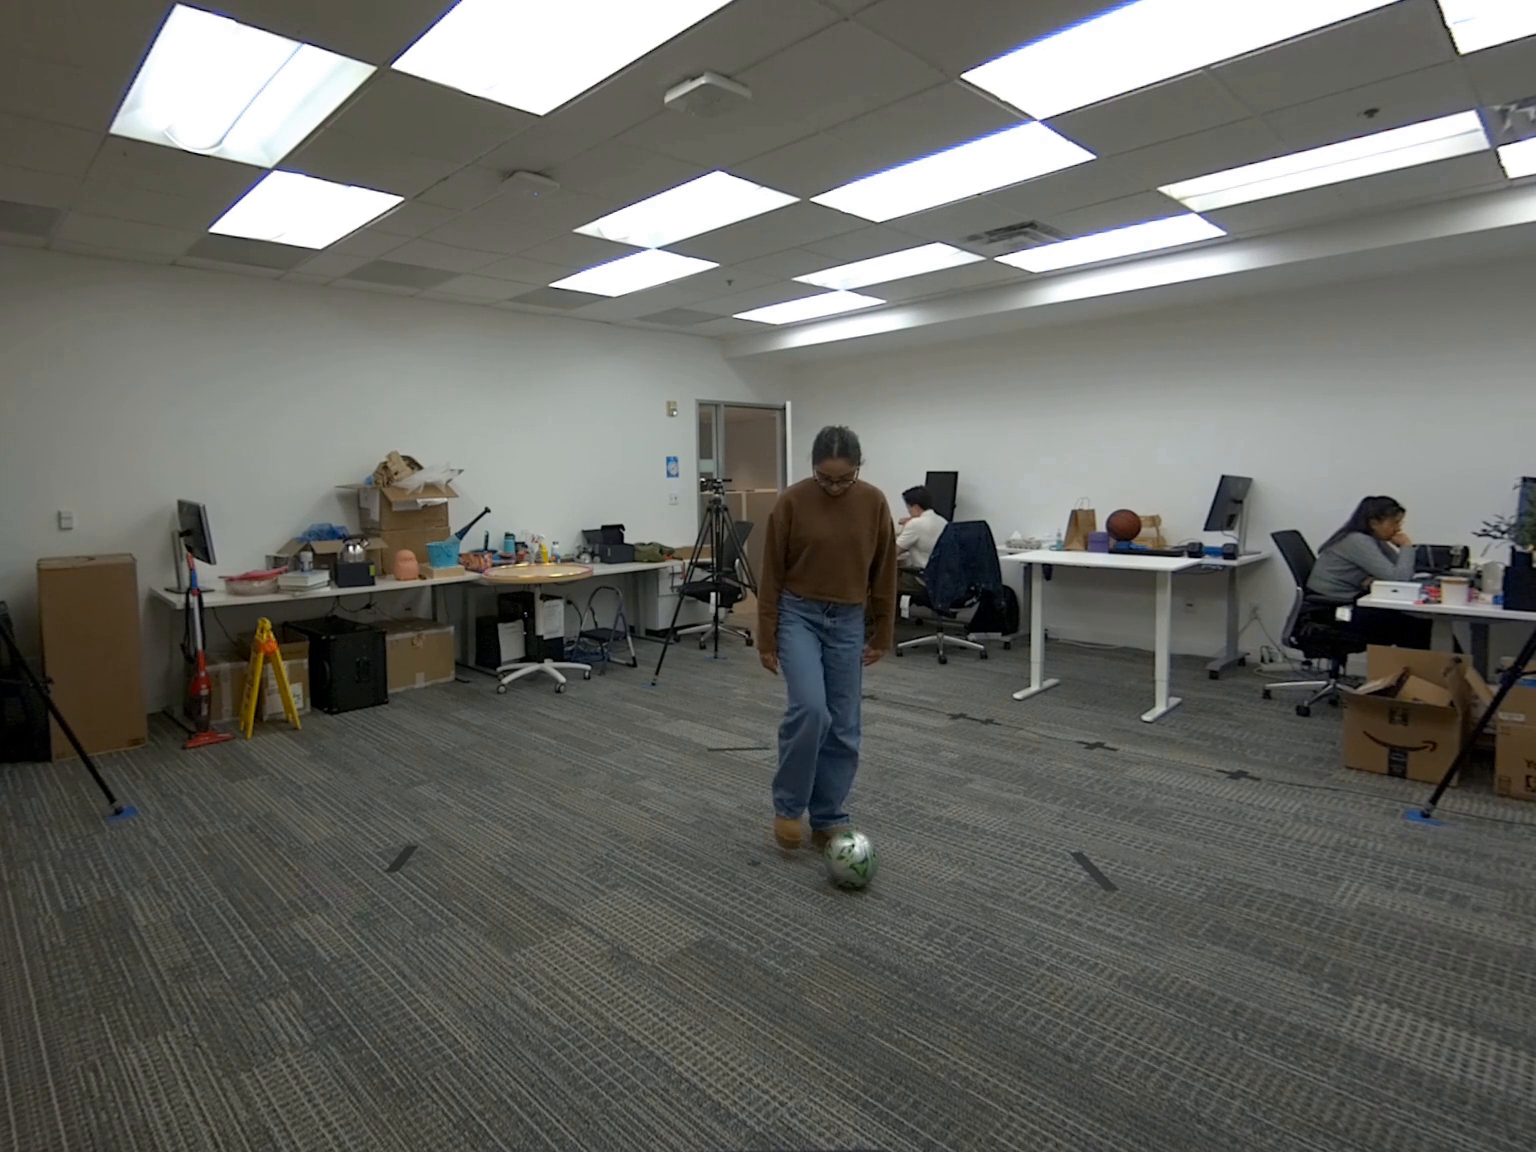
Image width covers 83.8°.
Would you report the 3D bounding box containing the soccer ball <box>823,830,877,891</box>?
[{"bbox_3d":[0.283,0.970,2.923,0.187,0.187,0.188,-1,5,-2],"label":"soccer ball"}]
